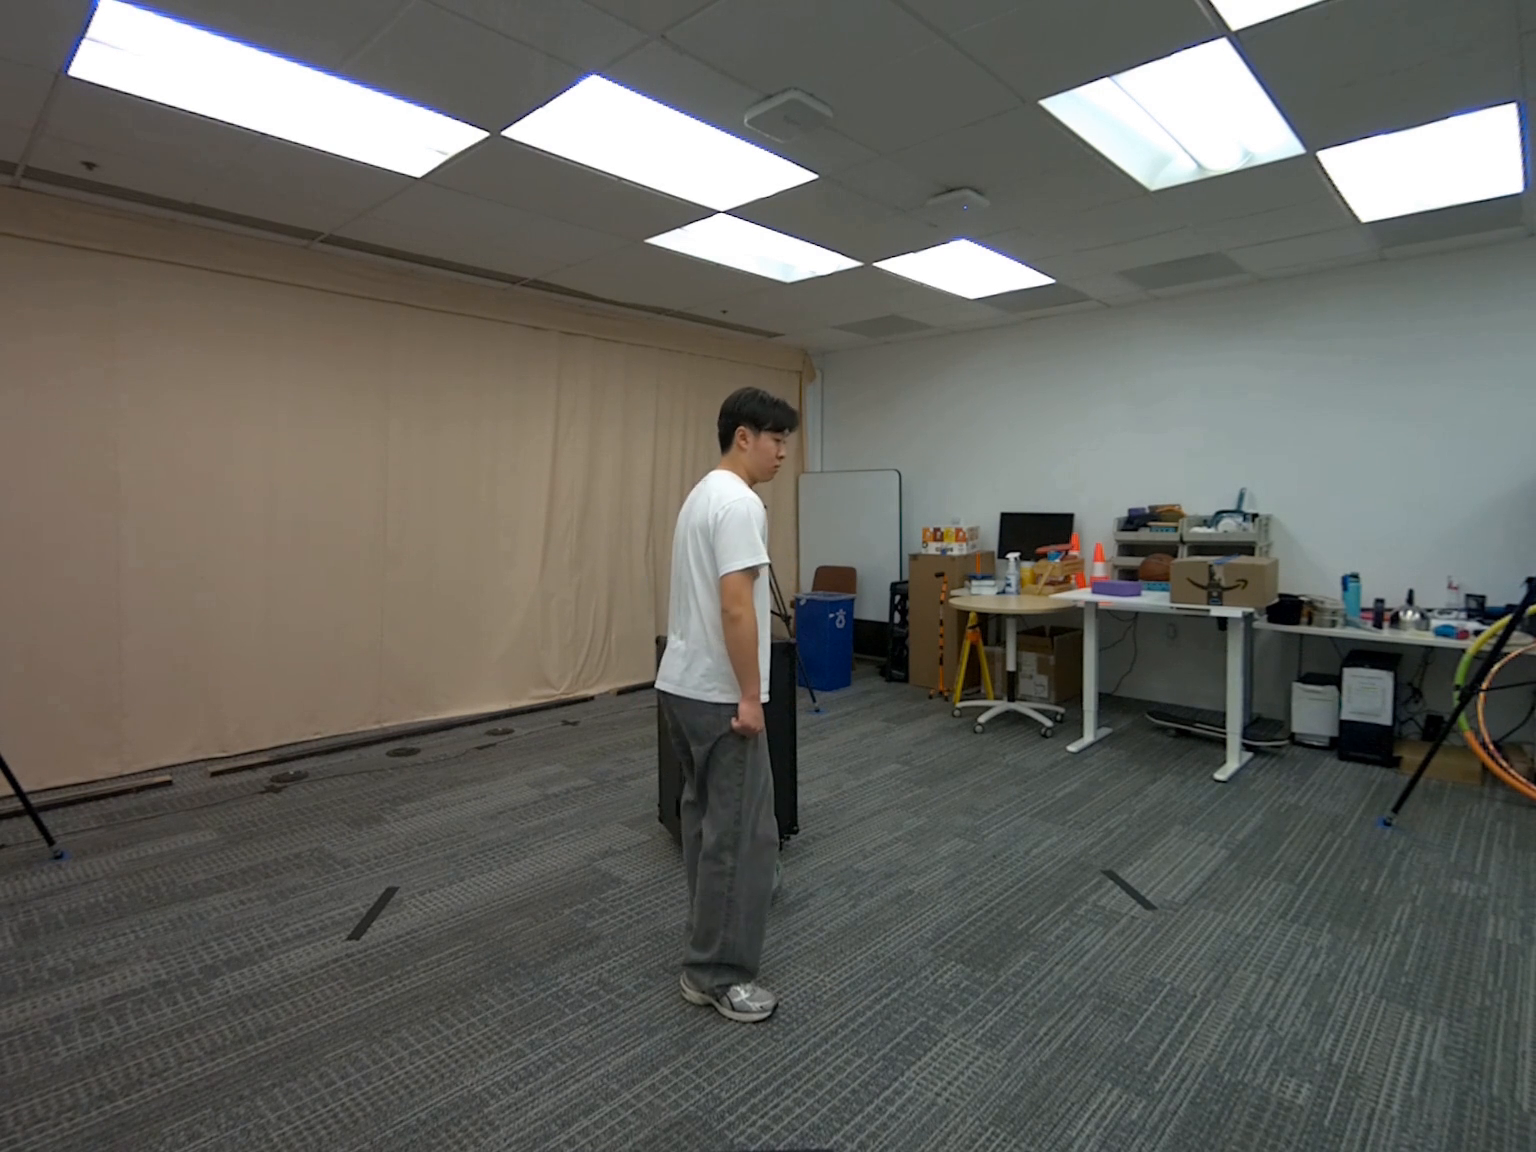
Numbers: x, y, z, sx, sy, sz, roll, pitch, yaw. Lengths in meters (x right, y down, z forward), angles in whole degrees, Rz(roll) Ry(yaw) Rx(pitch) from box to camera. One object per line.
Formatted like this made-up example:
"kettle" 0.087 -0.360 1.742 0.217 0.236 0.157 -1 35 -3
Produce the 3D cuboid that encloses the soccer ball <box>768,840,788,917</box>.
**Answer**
"soccer ball" -0.036 1.047 2.949 0.187 0.187 0.188 0 4 -2
